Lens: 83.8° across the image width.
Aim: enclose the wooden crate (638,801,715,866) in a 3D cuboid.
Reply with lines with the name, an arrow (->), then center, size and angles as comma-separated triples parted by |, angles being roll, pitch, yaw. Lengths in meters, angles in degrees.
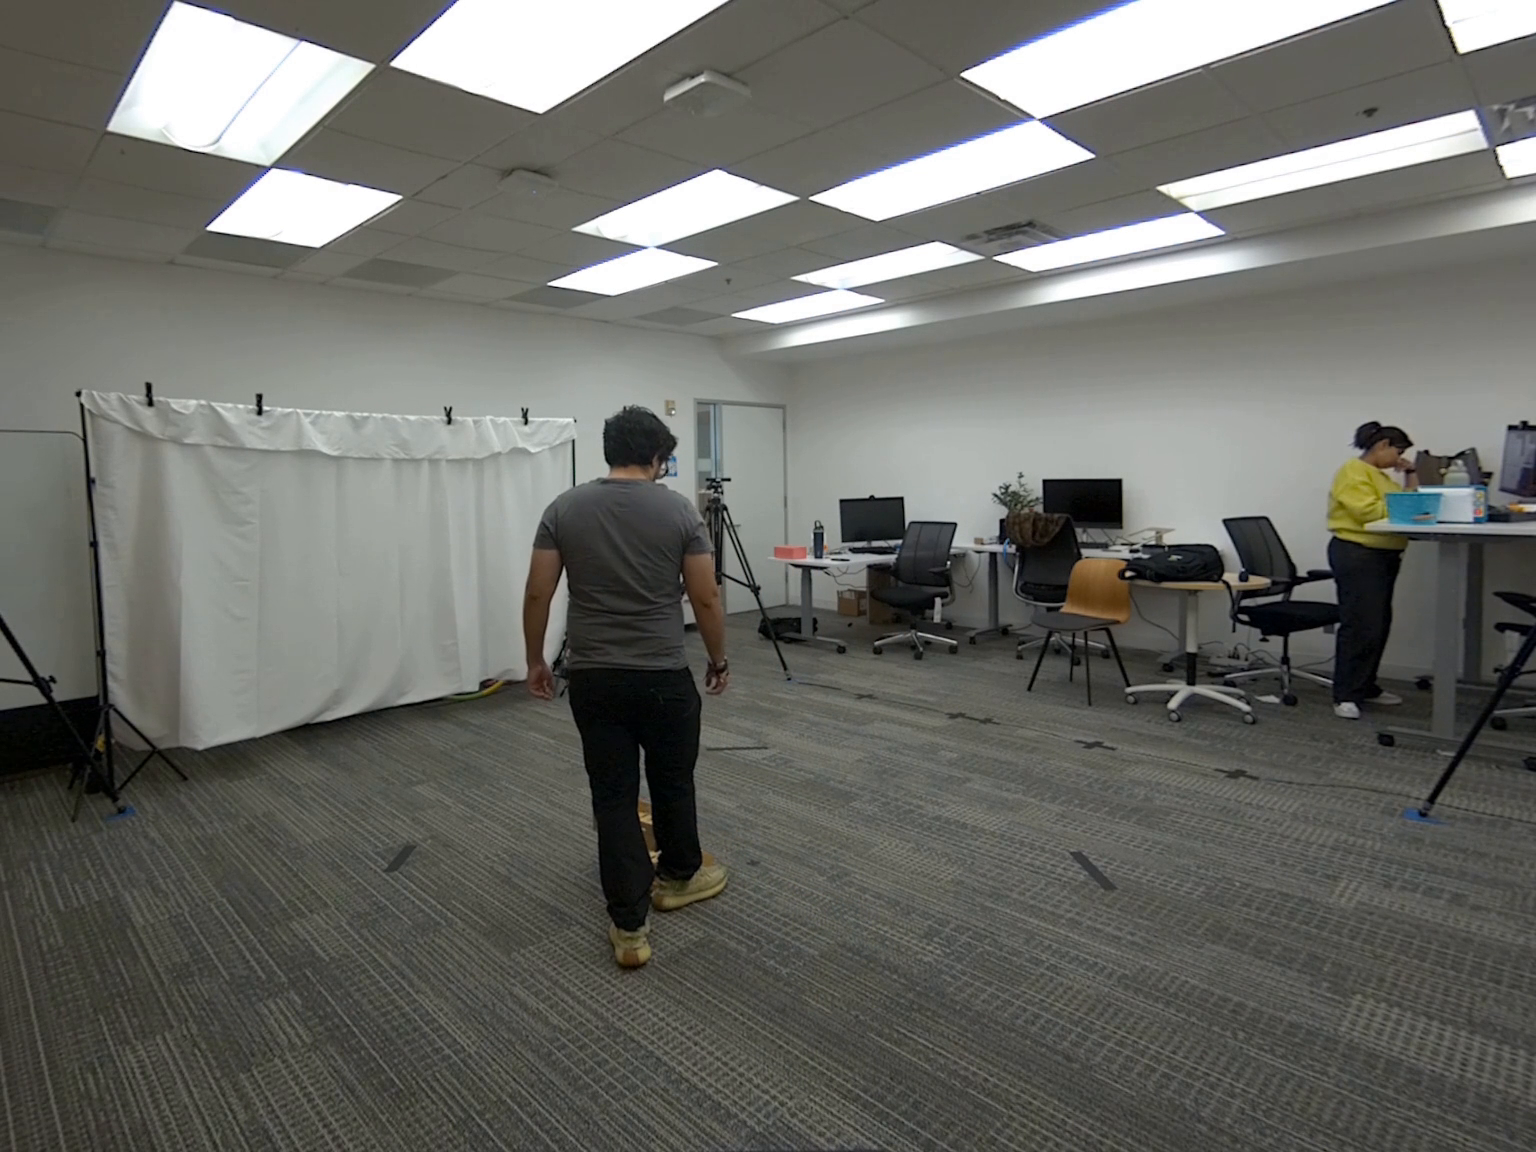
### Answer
wooden crate -> -0.397, 0.923, 3.030 | 0.334, 0.272, 0.295 | 4, 8, 37
